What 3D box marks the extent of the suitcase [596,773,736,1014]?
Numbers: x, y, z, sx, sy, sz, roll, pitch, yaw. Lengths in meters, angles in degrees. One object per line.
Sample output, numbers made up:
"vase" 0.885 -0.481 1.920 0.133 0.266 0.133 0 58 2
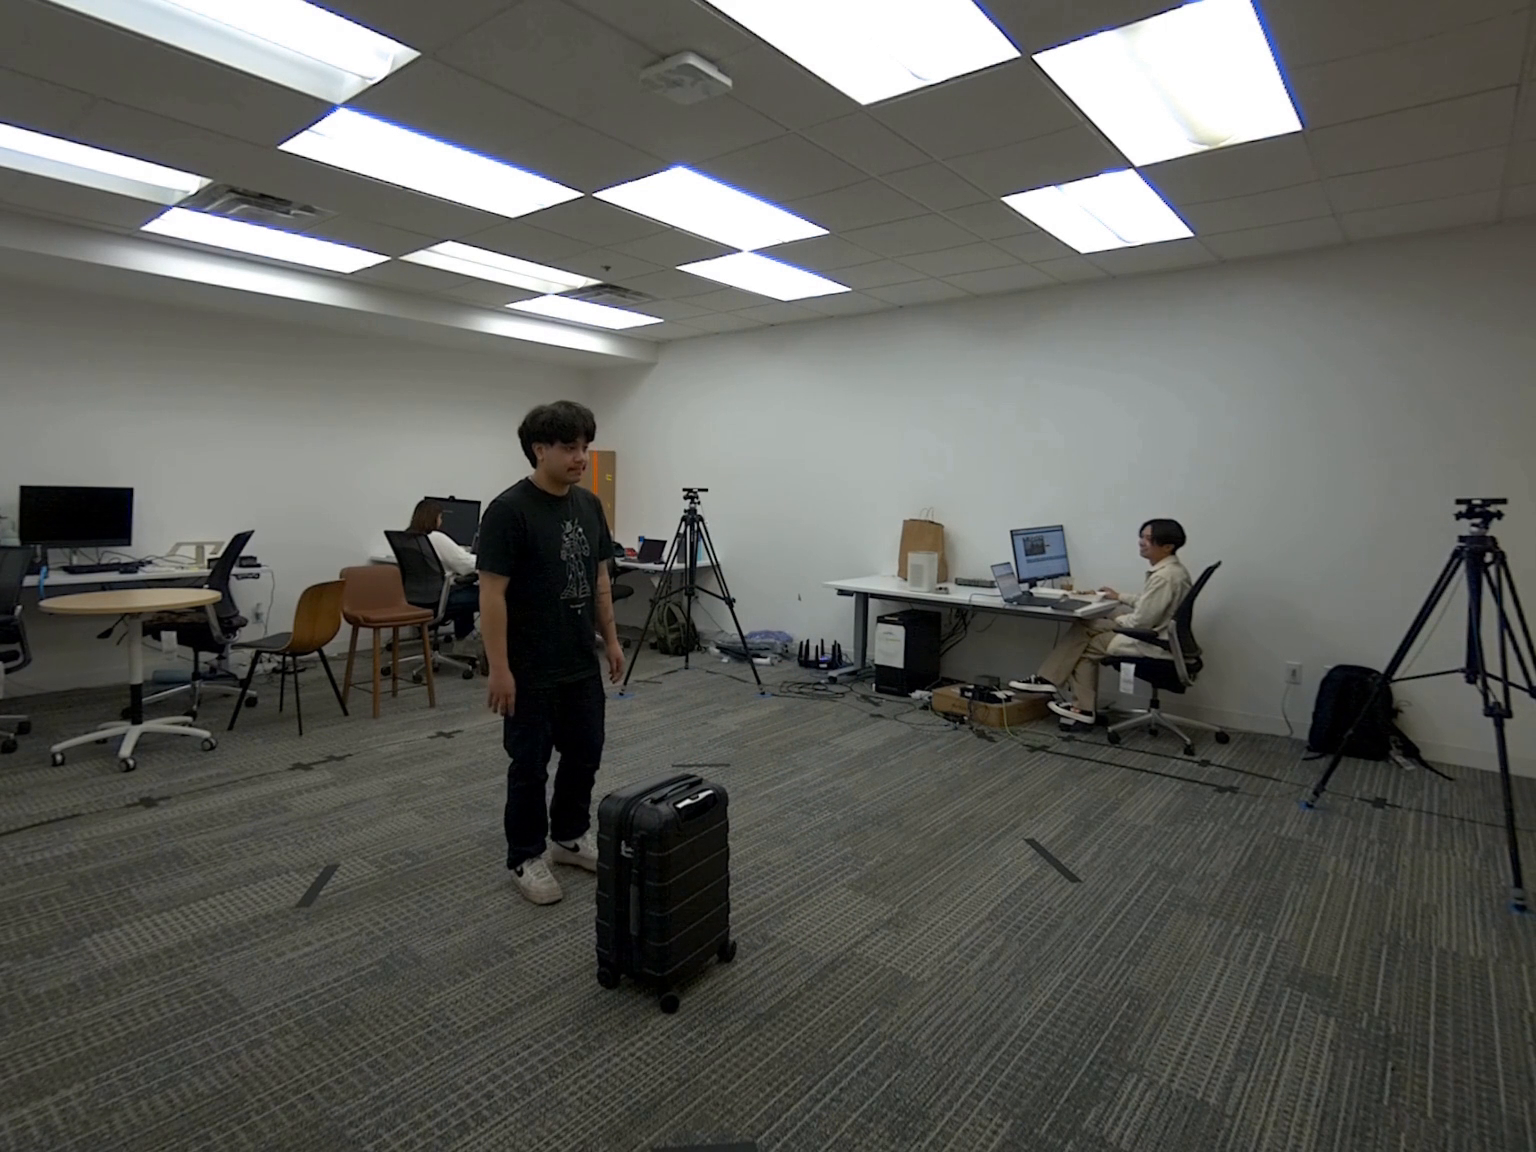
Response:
"suitcase" -0.302 0.860 2.425 0.256 0.548 0.365 1 4 34
